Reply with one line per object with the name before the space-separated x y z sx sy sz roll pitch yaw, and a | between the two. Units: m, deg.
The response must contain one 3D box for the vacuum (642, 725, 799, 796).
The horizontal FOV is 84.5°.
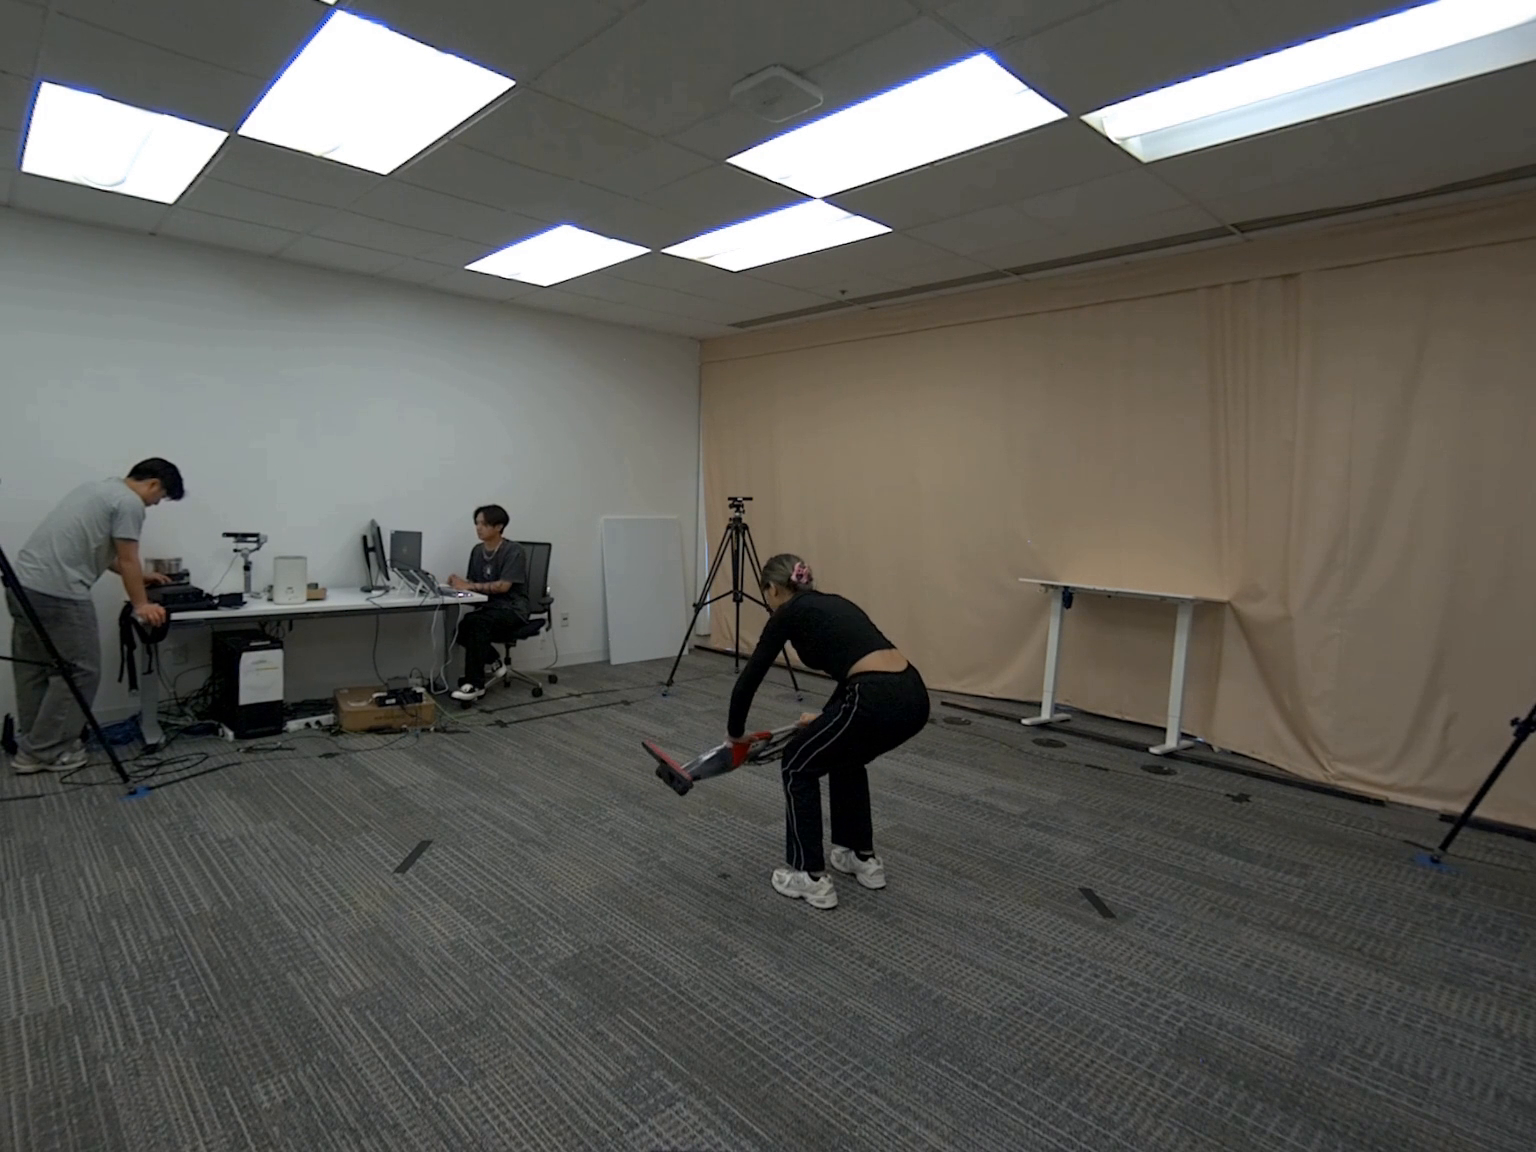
vacuum | -0.004 0.651 3.274 1.025 0.143 0.260 -4 27 -46
